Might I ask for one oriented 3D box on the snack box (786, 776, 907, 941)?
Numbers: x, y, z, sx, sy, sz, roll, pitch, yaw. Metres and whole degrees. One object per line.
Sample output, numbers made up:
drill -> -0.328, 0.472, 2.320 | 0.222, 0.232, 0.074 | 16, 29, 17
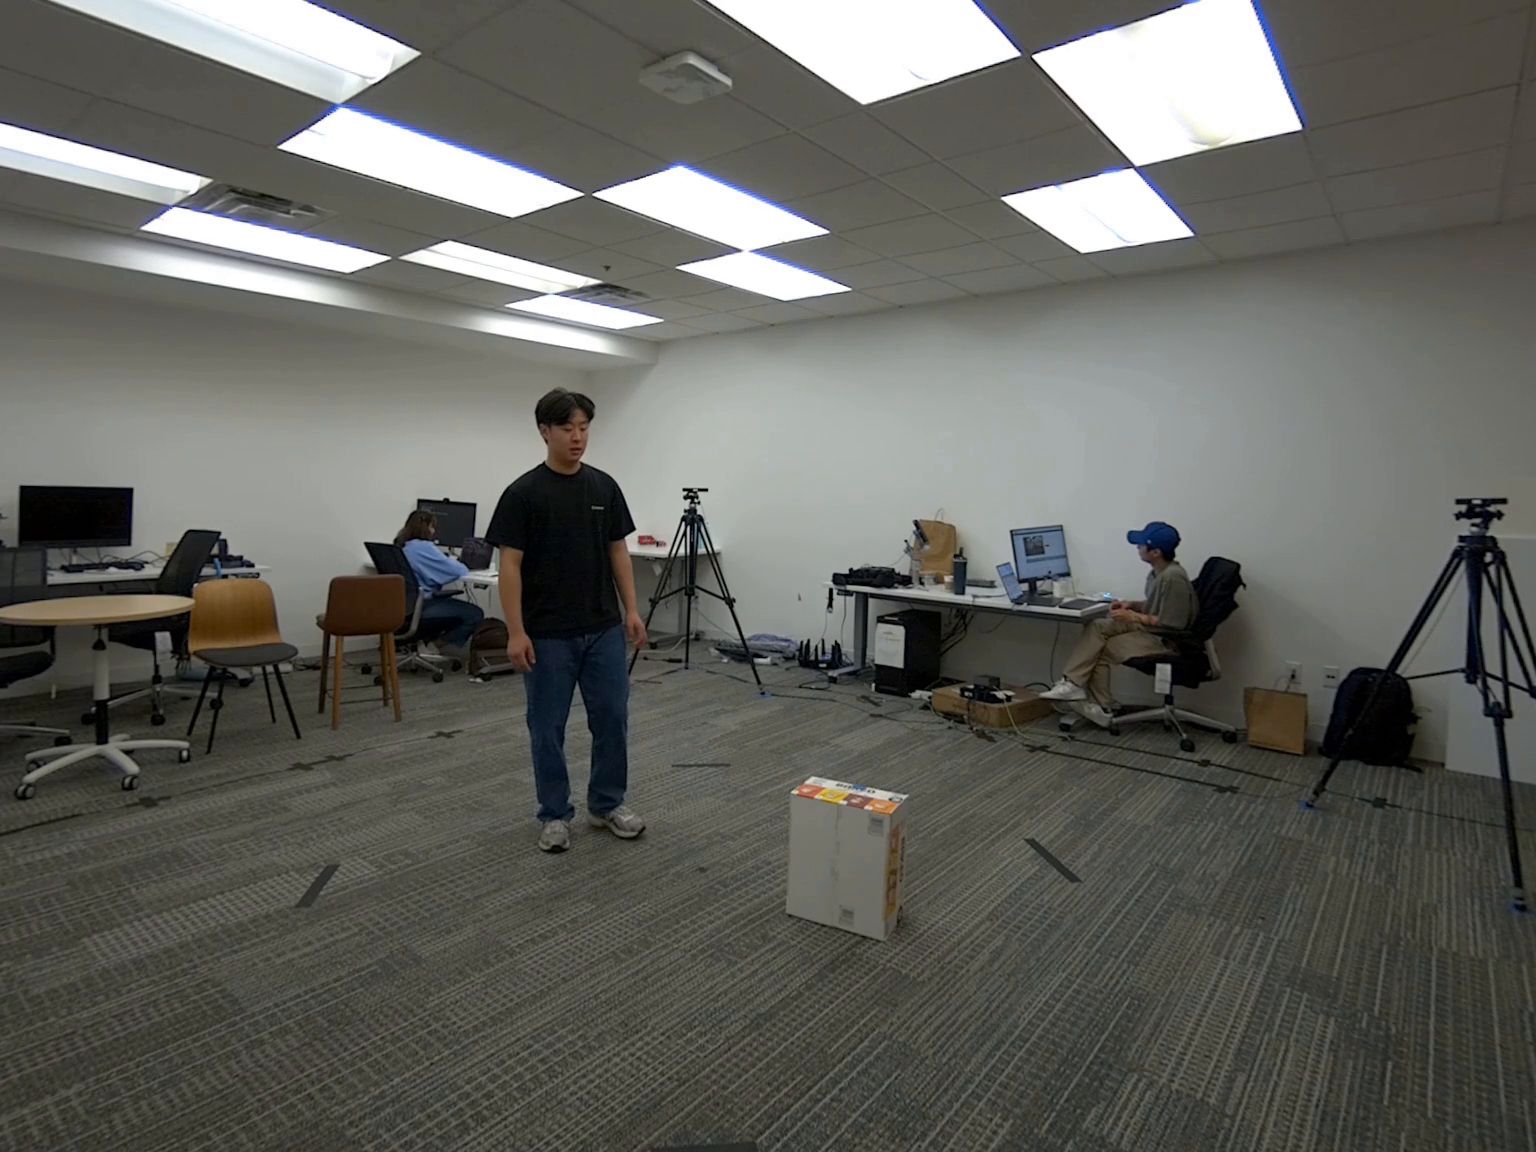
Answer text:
snack box -> 0.251, 0.907, 2.785 | 0.350, 0.404, 0.200 | 4, 3, 27
